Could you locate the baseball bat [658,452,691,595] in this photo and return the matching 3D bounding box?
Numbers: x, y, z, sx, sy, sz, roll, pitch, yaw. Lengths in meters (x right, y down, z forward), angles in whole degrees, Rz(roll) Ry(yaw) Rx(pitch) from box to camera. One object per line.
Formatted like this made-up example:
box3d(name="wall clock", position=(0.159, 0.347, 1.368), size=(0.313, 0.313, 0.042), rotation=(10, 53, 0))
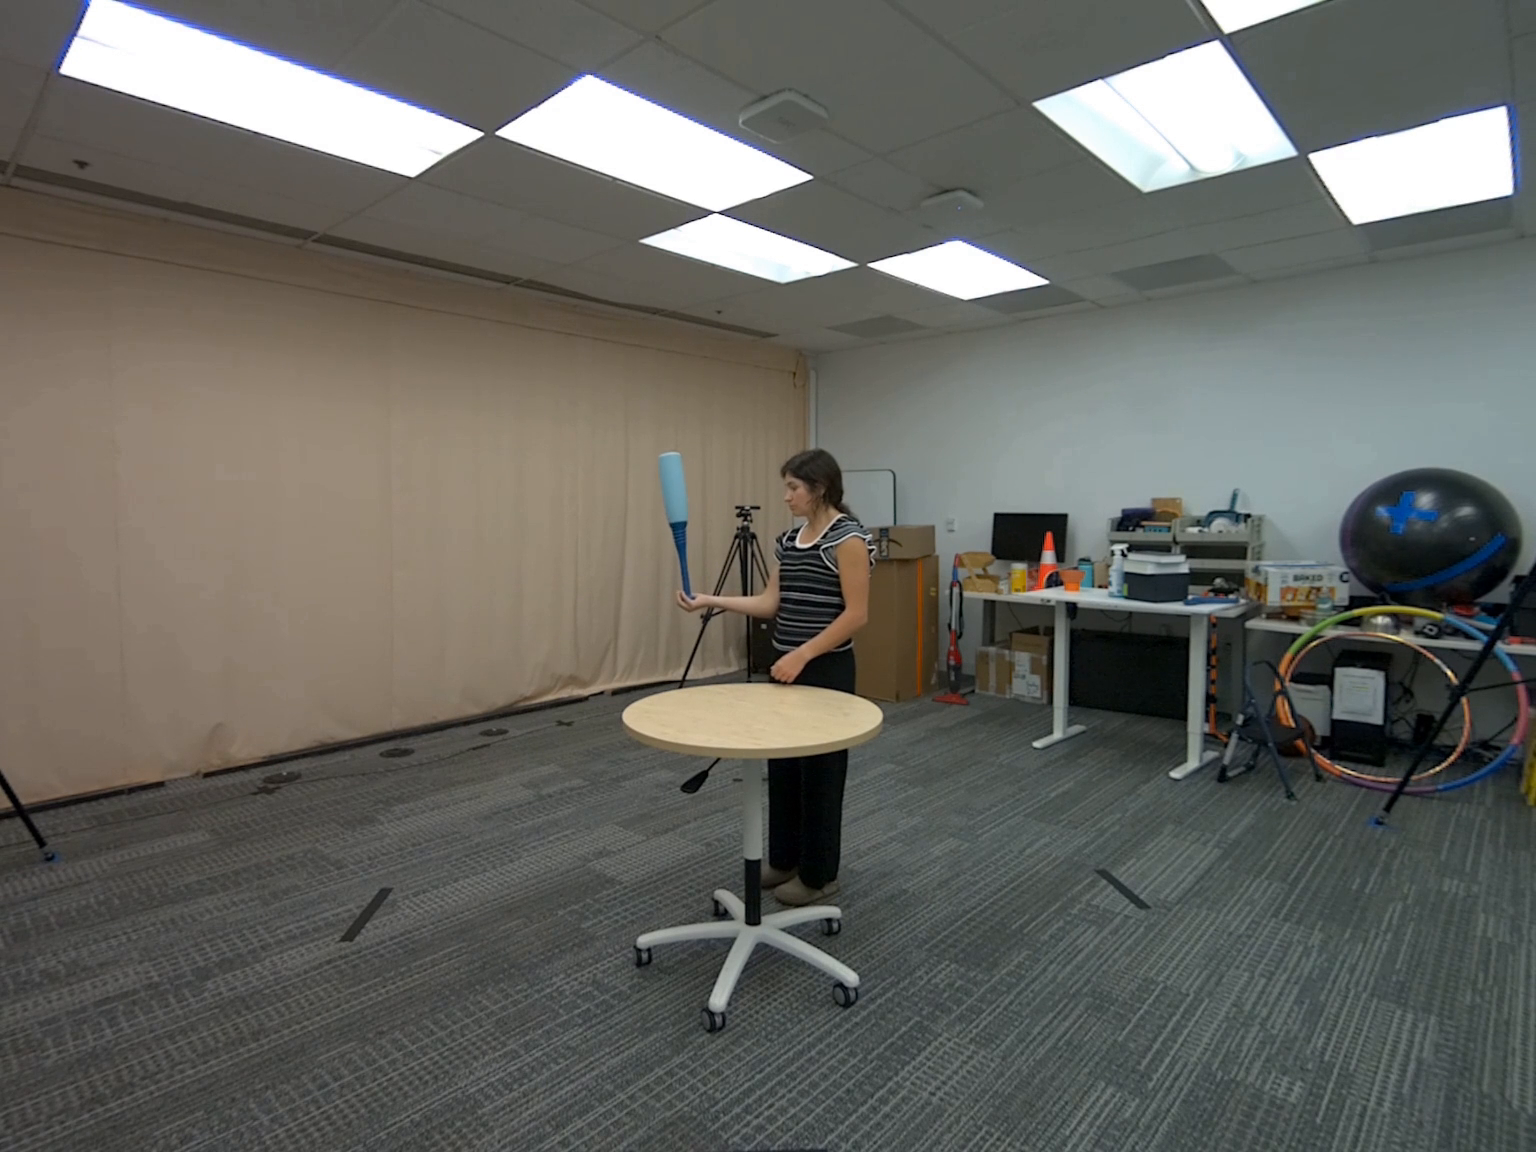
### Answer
box3d(name="baseball bat", position=(-0.320, -0.173, 3.034), size=(0.089, 0.544, 0.089), rotation=(-7, -2, -2))
